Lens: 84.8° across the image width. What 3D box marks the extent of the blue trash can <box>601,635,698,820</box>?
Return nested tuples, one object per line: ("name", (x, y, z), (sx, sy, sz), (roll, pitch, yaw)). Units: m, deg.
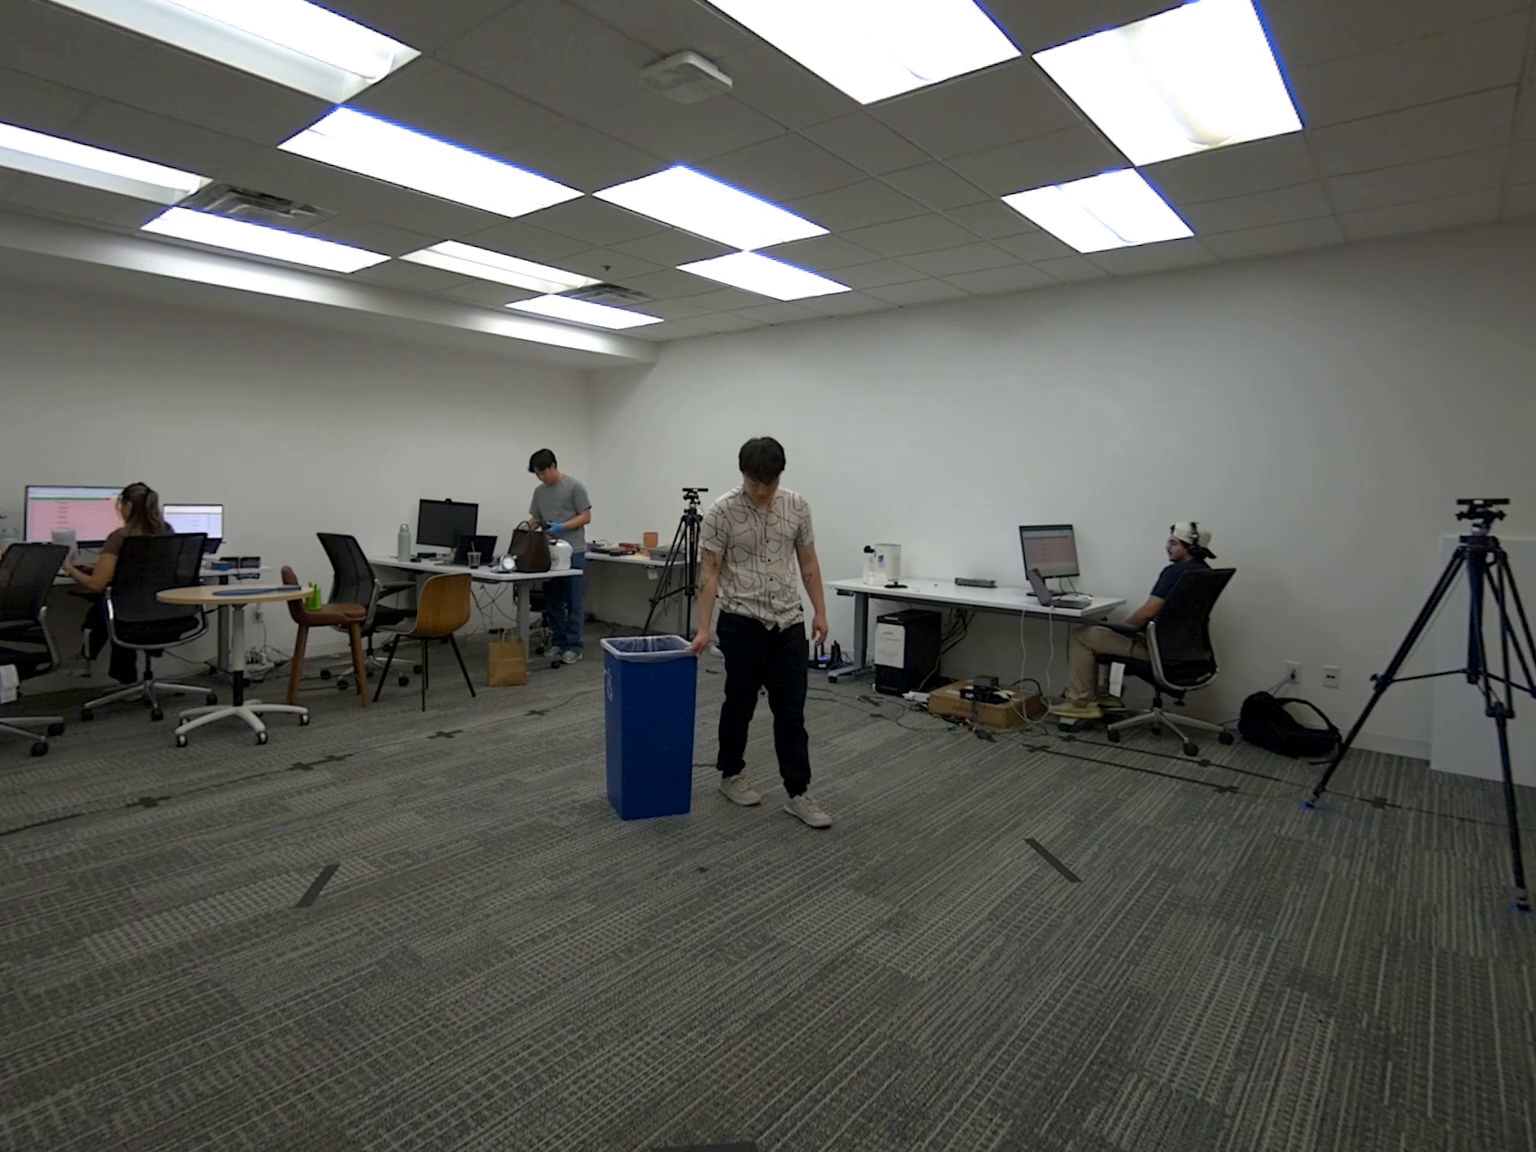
("blue trash can", (-0.528, 0.648, 3.716), (0.370, 0.711, 0.383), (0, 4, -22))
